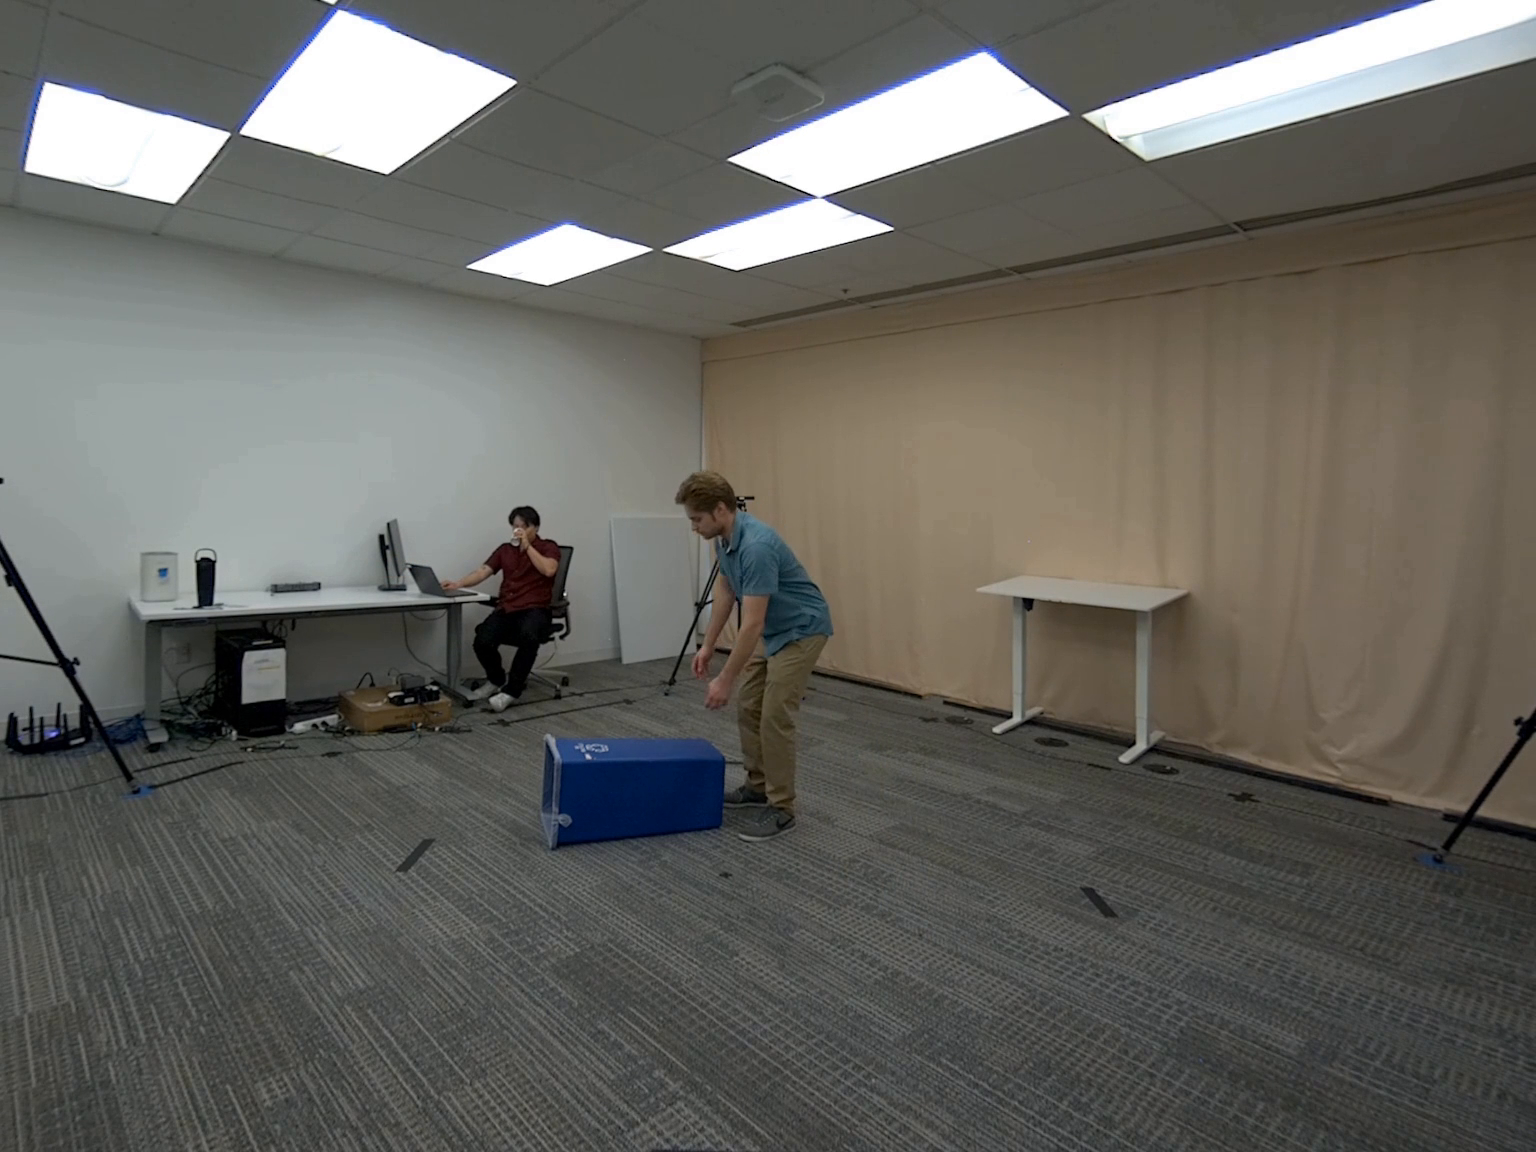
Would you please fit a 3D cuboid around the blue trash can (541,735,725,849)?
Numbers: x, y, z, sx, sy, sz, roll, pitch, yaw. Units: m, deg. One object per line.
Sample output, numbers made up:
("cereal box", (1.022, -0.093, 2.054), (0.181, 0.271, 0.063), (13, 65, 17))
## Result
("blue trash can", (-0.581, 0.888, 3.557), (0.702, 0.377, 0.381), (3, 4, -21))
